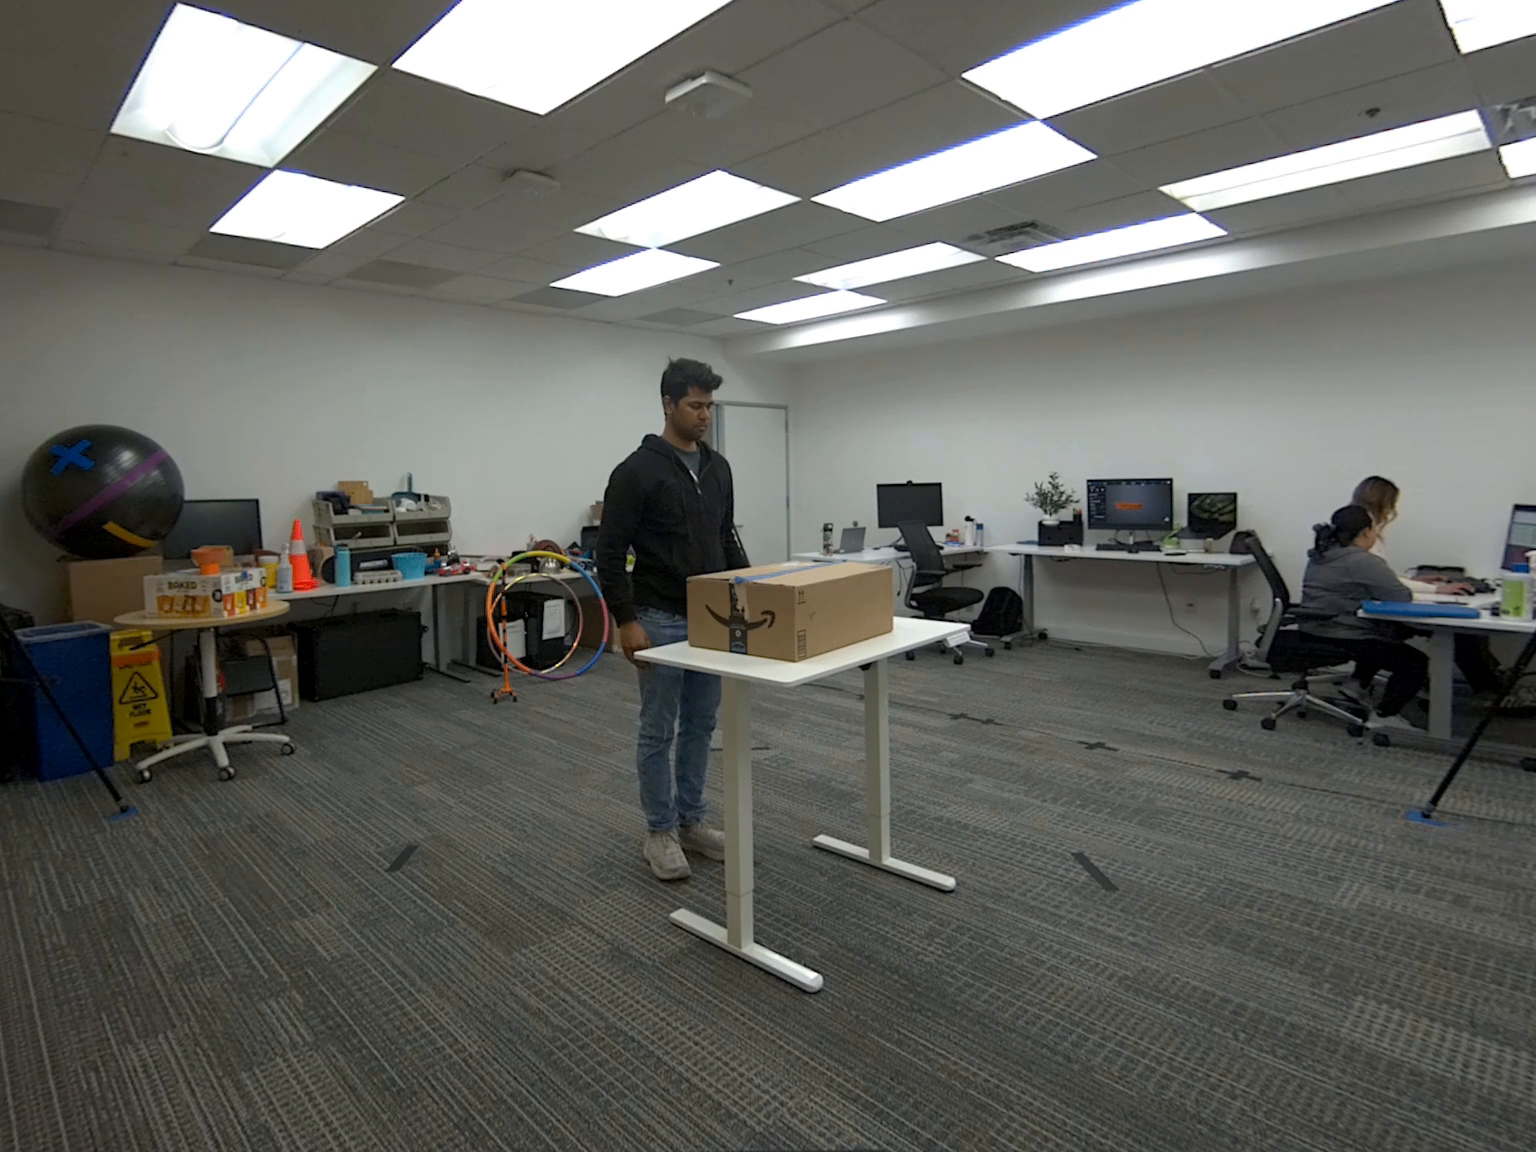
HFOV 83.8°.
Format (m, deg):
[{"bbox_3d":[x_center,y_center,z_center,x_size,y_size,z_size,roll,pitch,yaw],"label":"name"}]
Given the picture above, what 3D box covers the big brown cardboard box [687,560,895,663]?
[{"bbox_3d":[0.085,0.091,2.738,0.430,0.232,0.575,3,9,38],"label":"big brown cardboard box"}]
